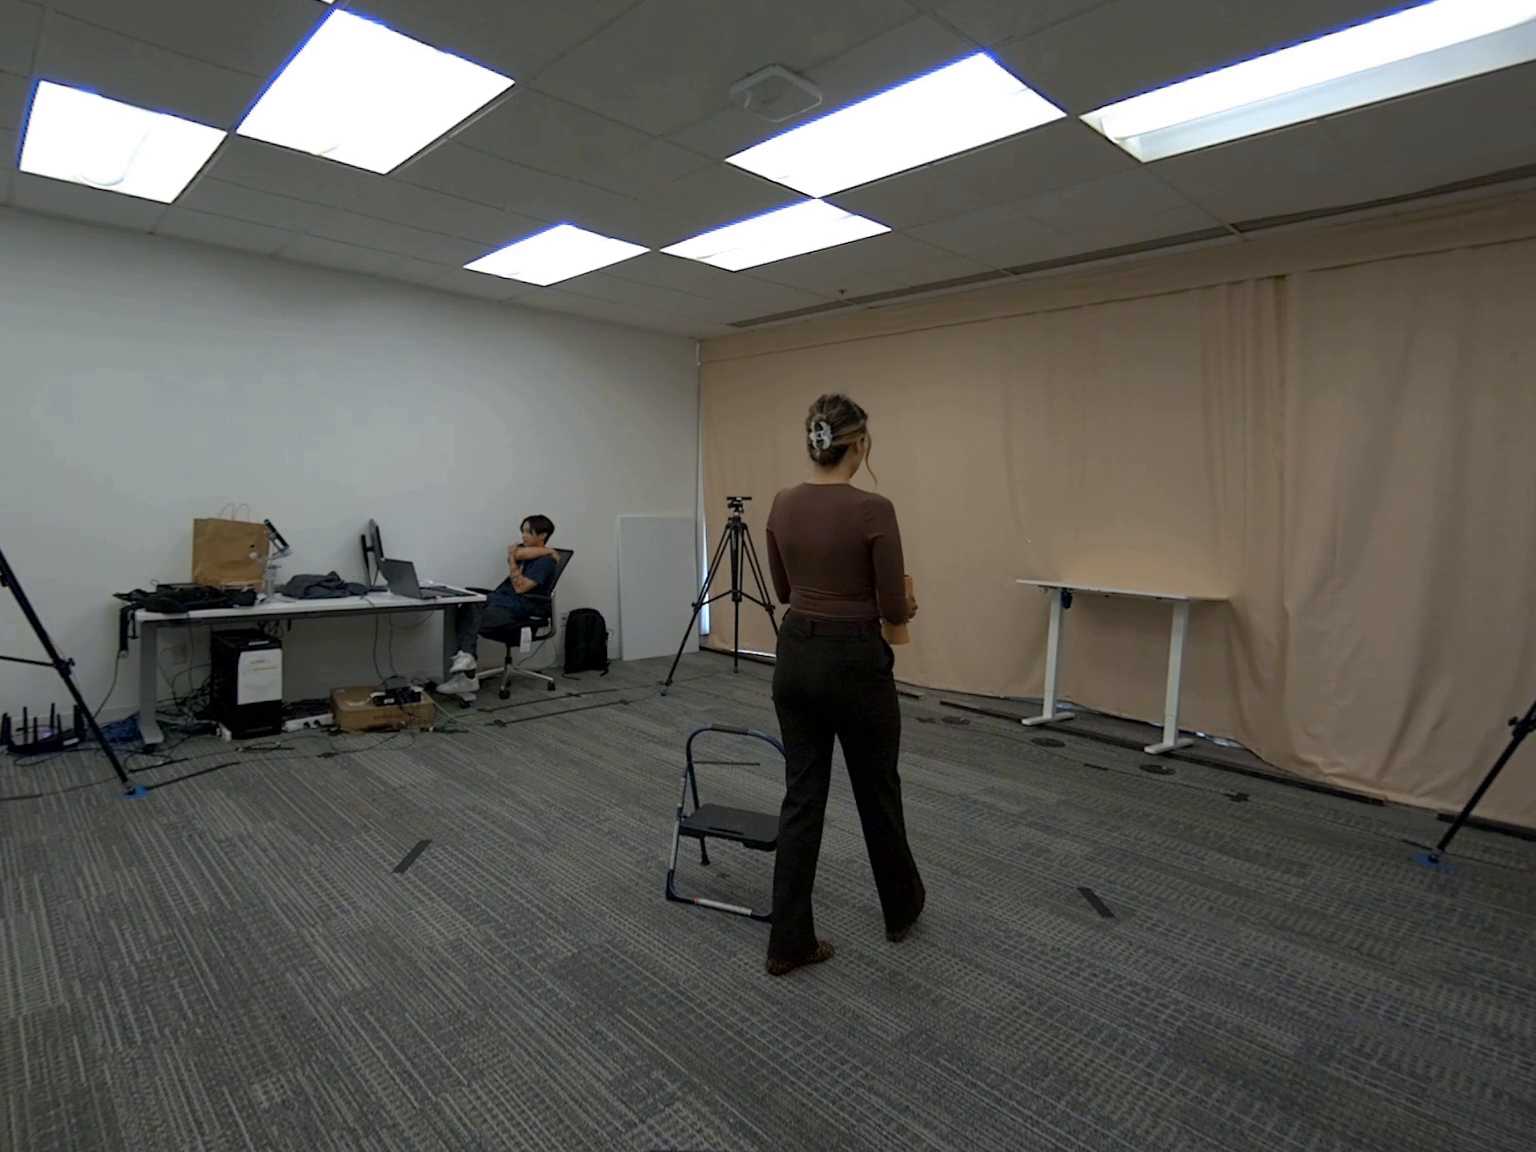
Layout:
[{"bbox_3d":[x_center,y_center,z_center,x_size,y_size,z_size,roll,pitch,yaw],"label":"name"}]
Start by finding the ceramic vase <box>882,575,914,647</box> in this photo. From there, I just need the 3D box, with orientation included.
[{"bbox_3d":[0.423,0.113,2.776,0.156,0.219,0.137,-5,3,-21],"label":"ceramic vase"}]
